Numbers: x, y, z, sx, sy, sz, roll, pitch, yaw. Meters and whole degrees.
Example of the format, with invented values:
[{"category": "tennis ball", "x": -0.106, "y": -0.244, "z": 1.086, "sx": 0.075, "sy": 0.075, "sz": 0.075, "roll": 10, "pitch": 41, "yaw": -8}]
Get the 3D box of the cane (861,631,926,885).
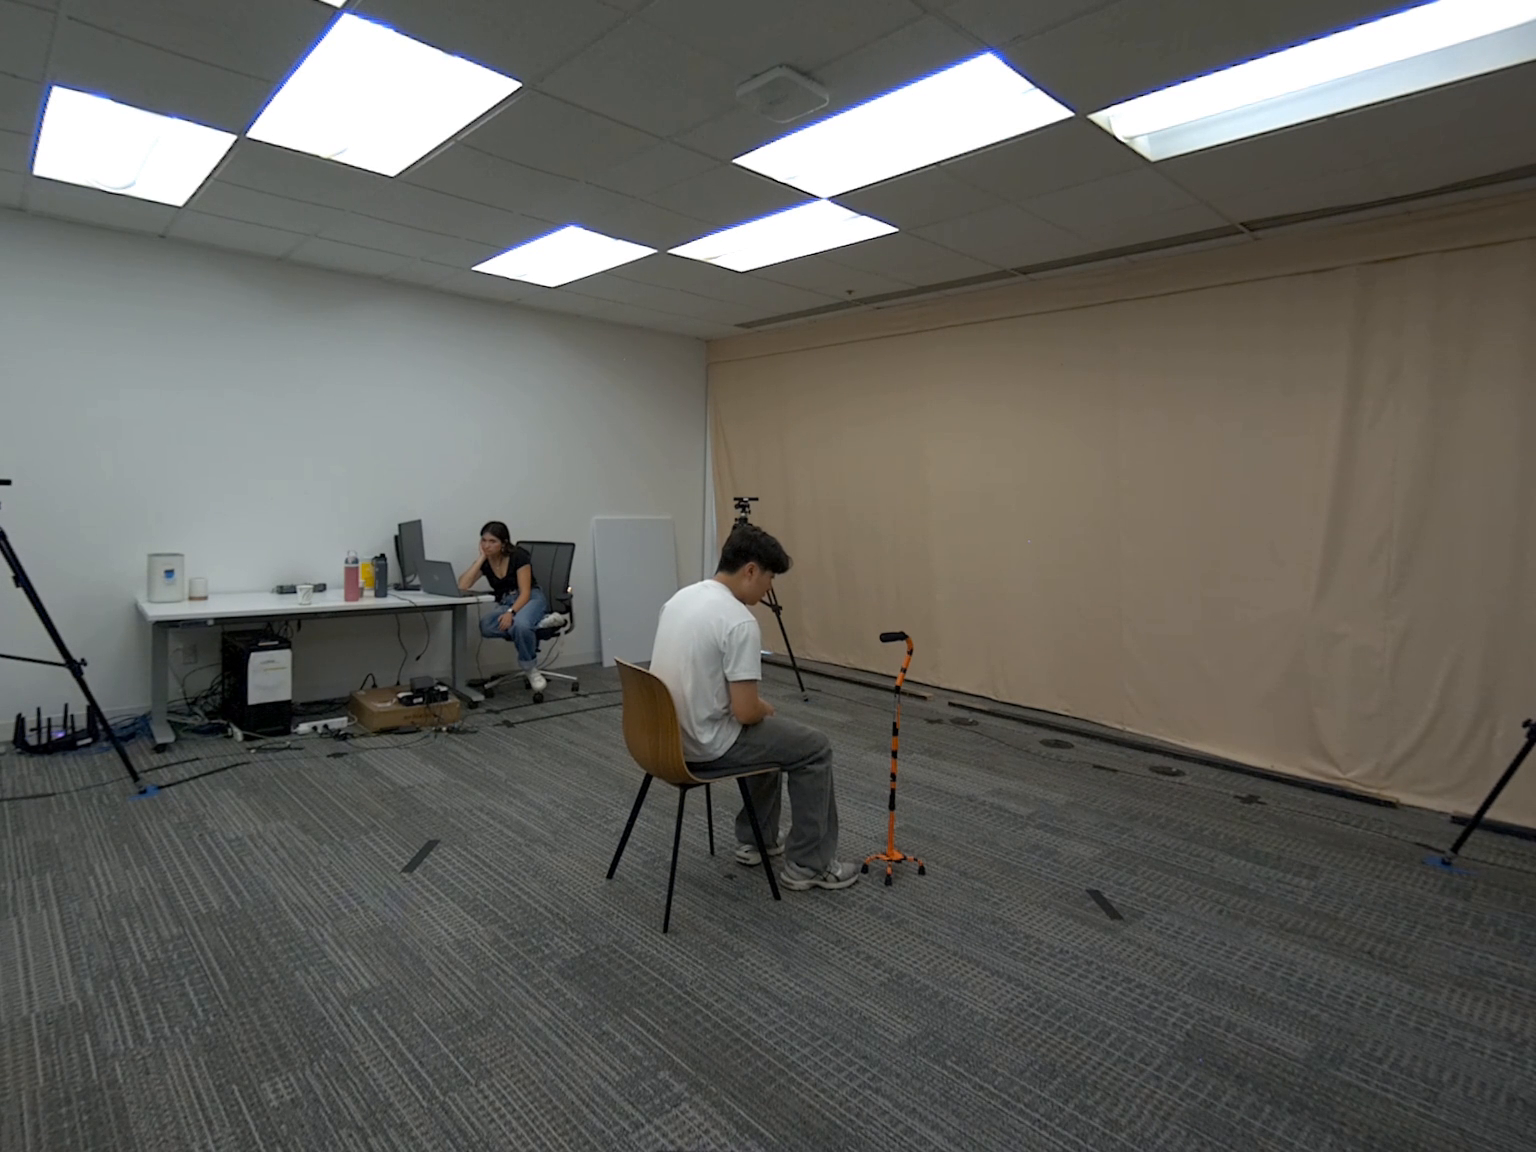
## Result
[{"category": "cane", "x": 0.482, "y": 0.665, "z": 3.136, "sx": 0.202, "sy": 0.906, "sz": 0.155, "roll": 0, "pitch": 3, "yaw": -37}]
